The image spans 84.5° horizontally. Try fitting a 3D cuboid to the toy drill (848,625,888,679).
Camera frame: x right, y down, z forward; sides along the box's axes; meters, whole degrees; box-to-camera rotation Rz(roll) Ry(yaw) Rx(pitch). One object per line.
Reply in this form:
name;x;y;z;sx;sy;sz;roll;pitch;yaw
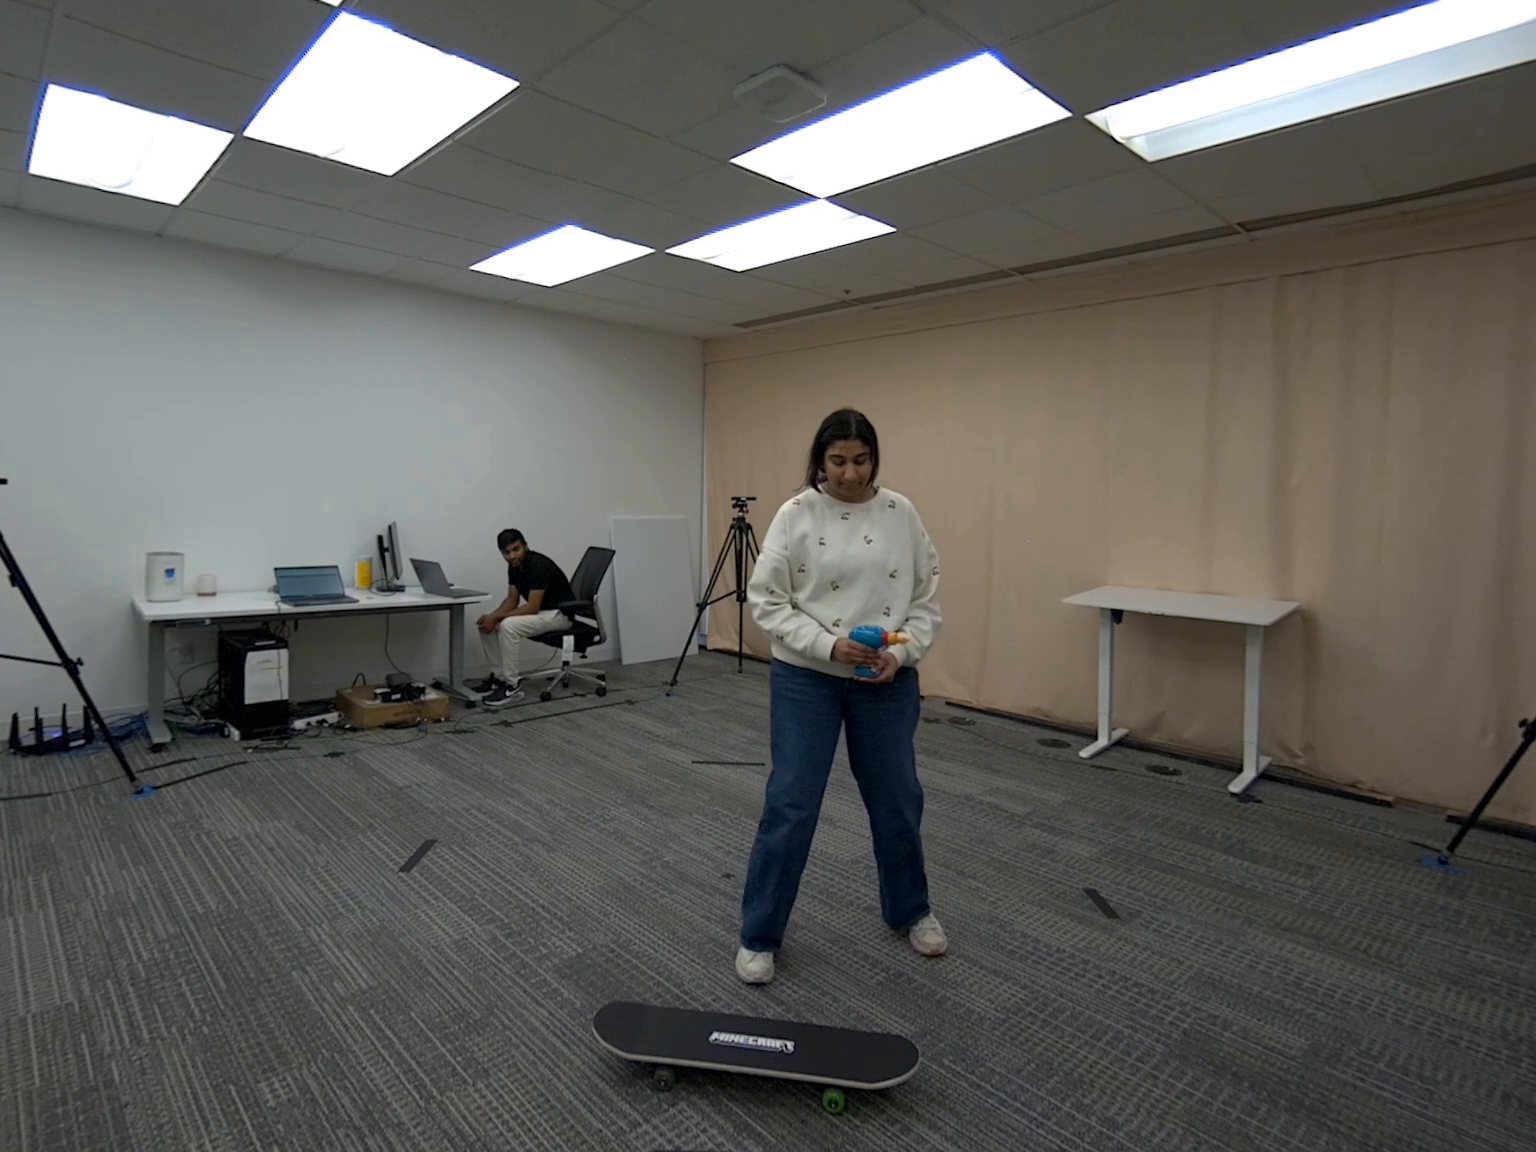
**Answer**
toy drill;0.290;0.206;2.304;0.173;0.144;0.061;2;18;26
